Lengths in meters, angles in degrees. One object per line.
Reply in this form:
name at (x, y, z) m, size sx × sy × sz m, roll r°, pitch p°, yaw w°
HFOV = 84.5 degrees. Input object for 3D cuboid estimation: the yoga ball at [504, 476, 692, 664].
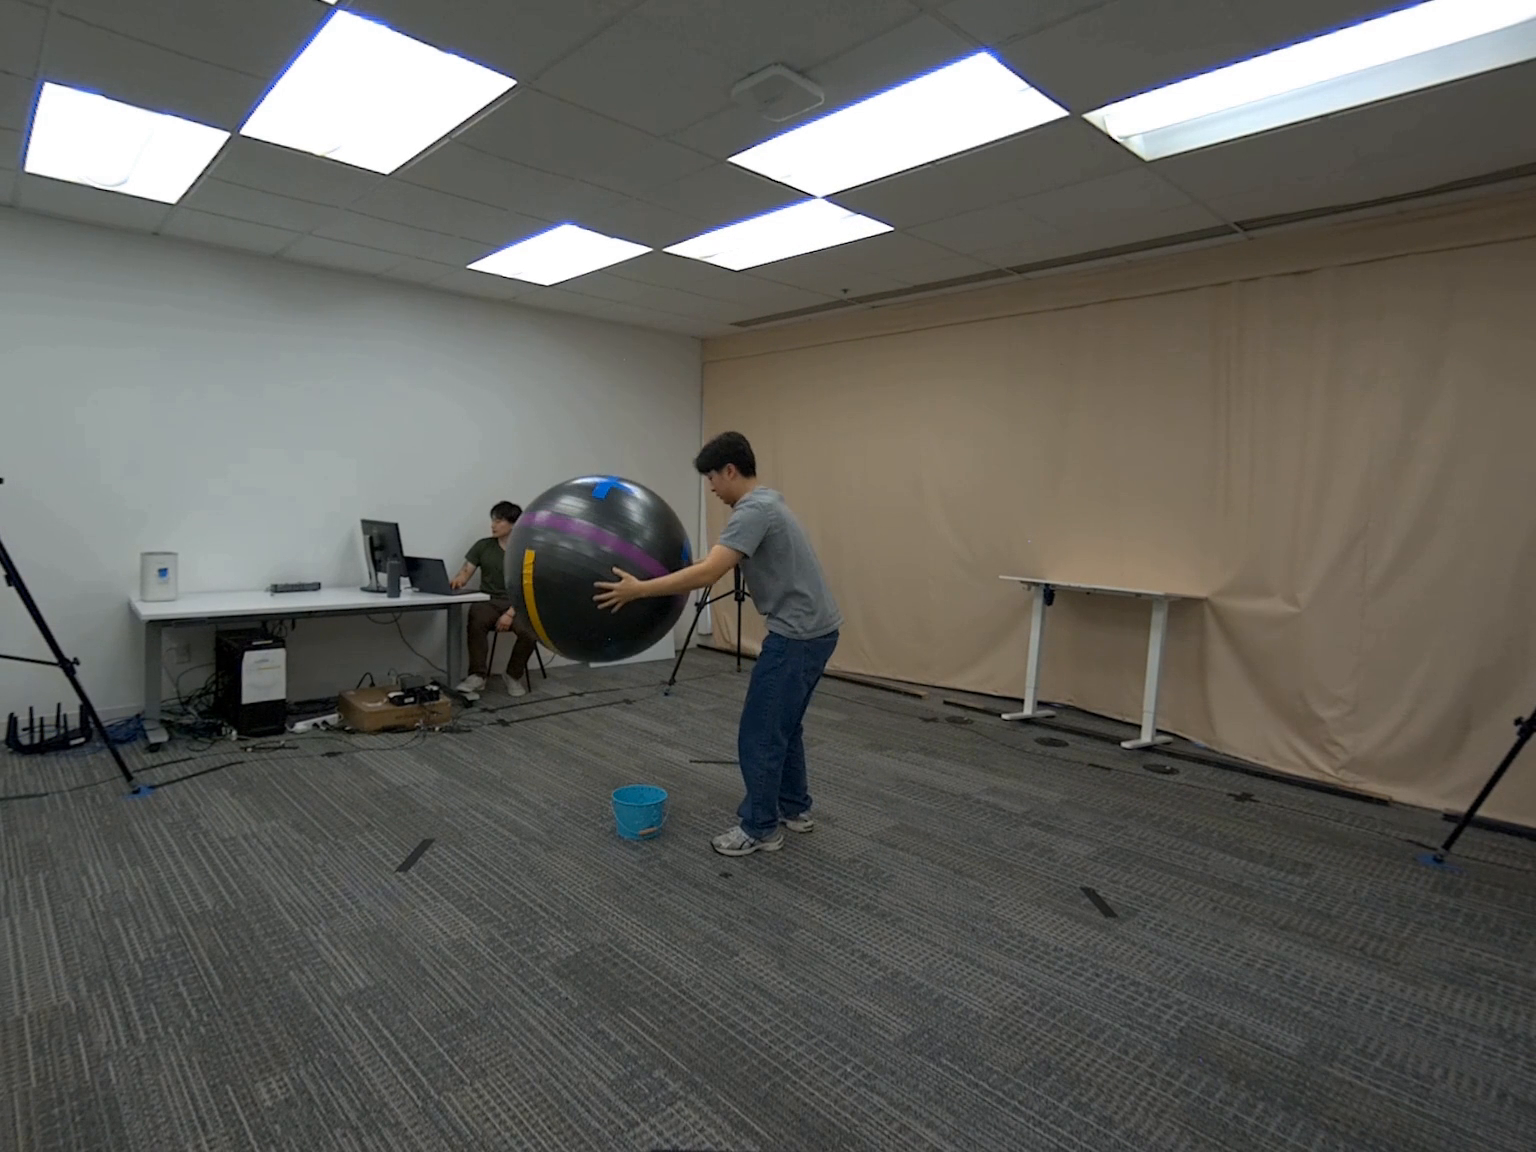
yoga ball at (-0.688, -0.031, 3.438) m, size 0.757 × 0.756 × 0.761 m, roll 1°, pitch 4°, yaw -1°
